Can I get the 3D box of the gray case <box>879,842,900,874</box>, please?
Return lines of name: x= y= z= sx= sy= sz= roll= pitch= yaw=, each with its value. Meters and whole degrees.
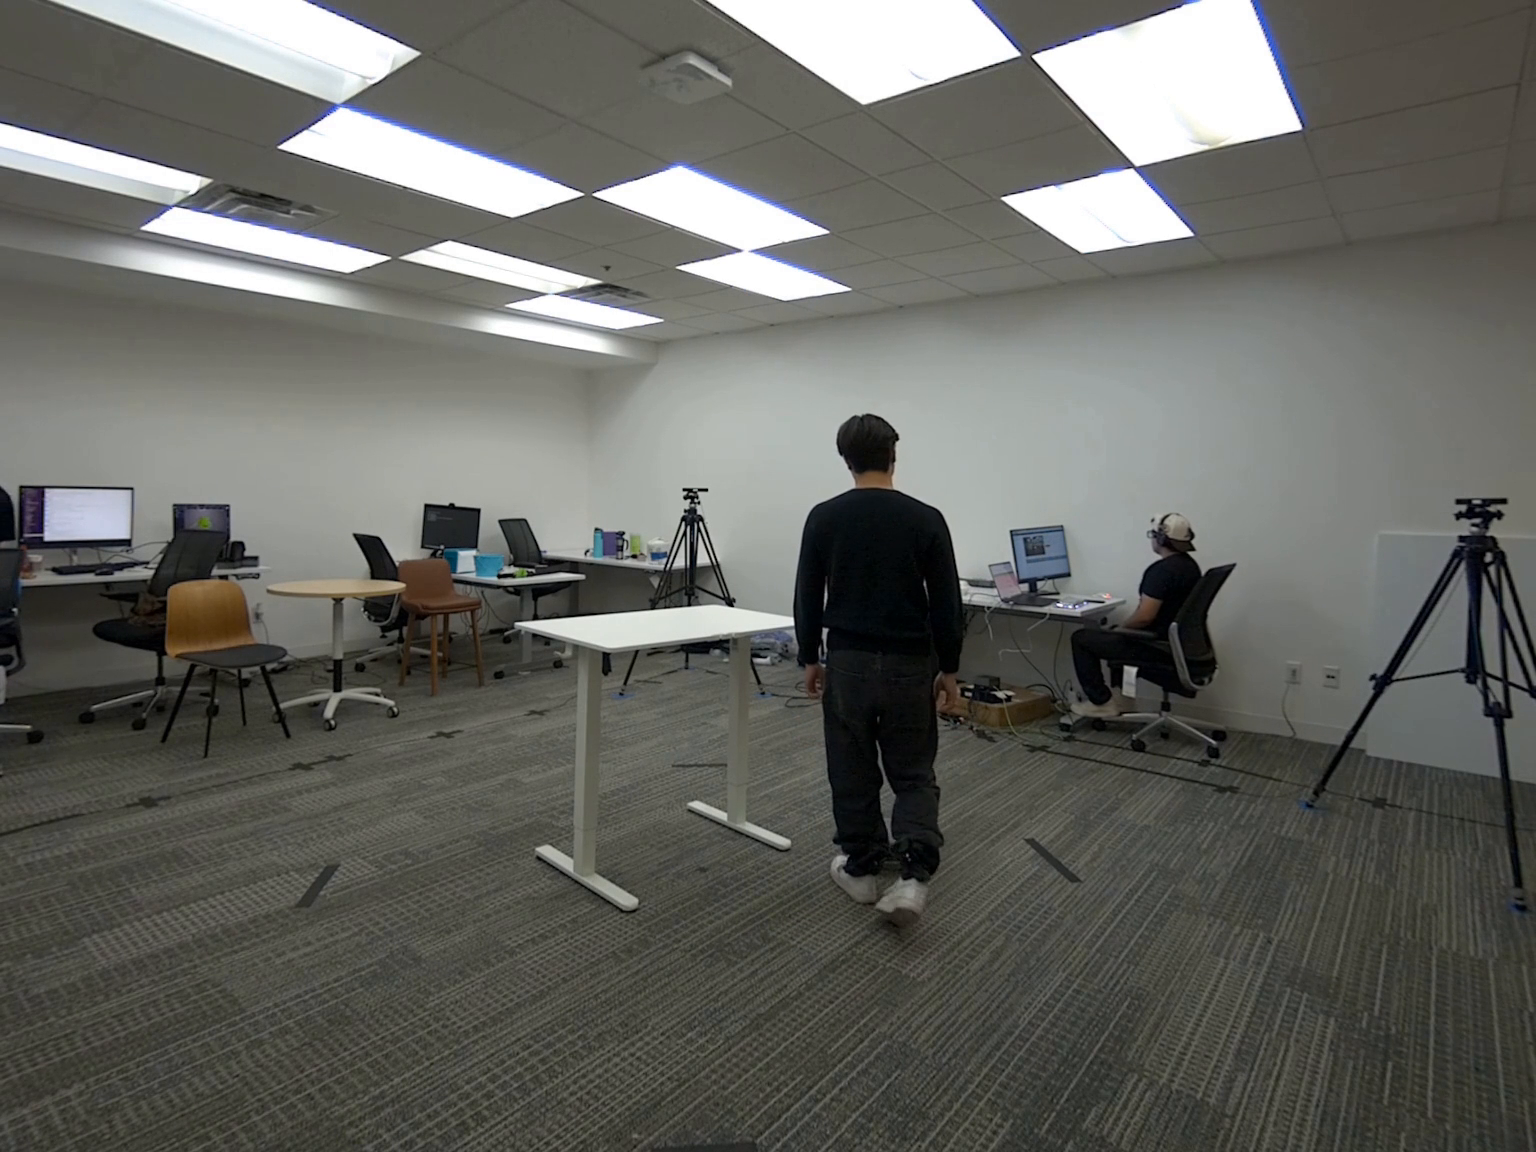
gray case: x=0.440 y=1.005 z=3.257 sx=0.258 sy=0.104 sz=0.261 roll=2 pitch=5 yaw=3
